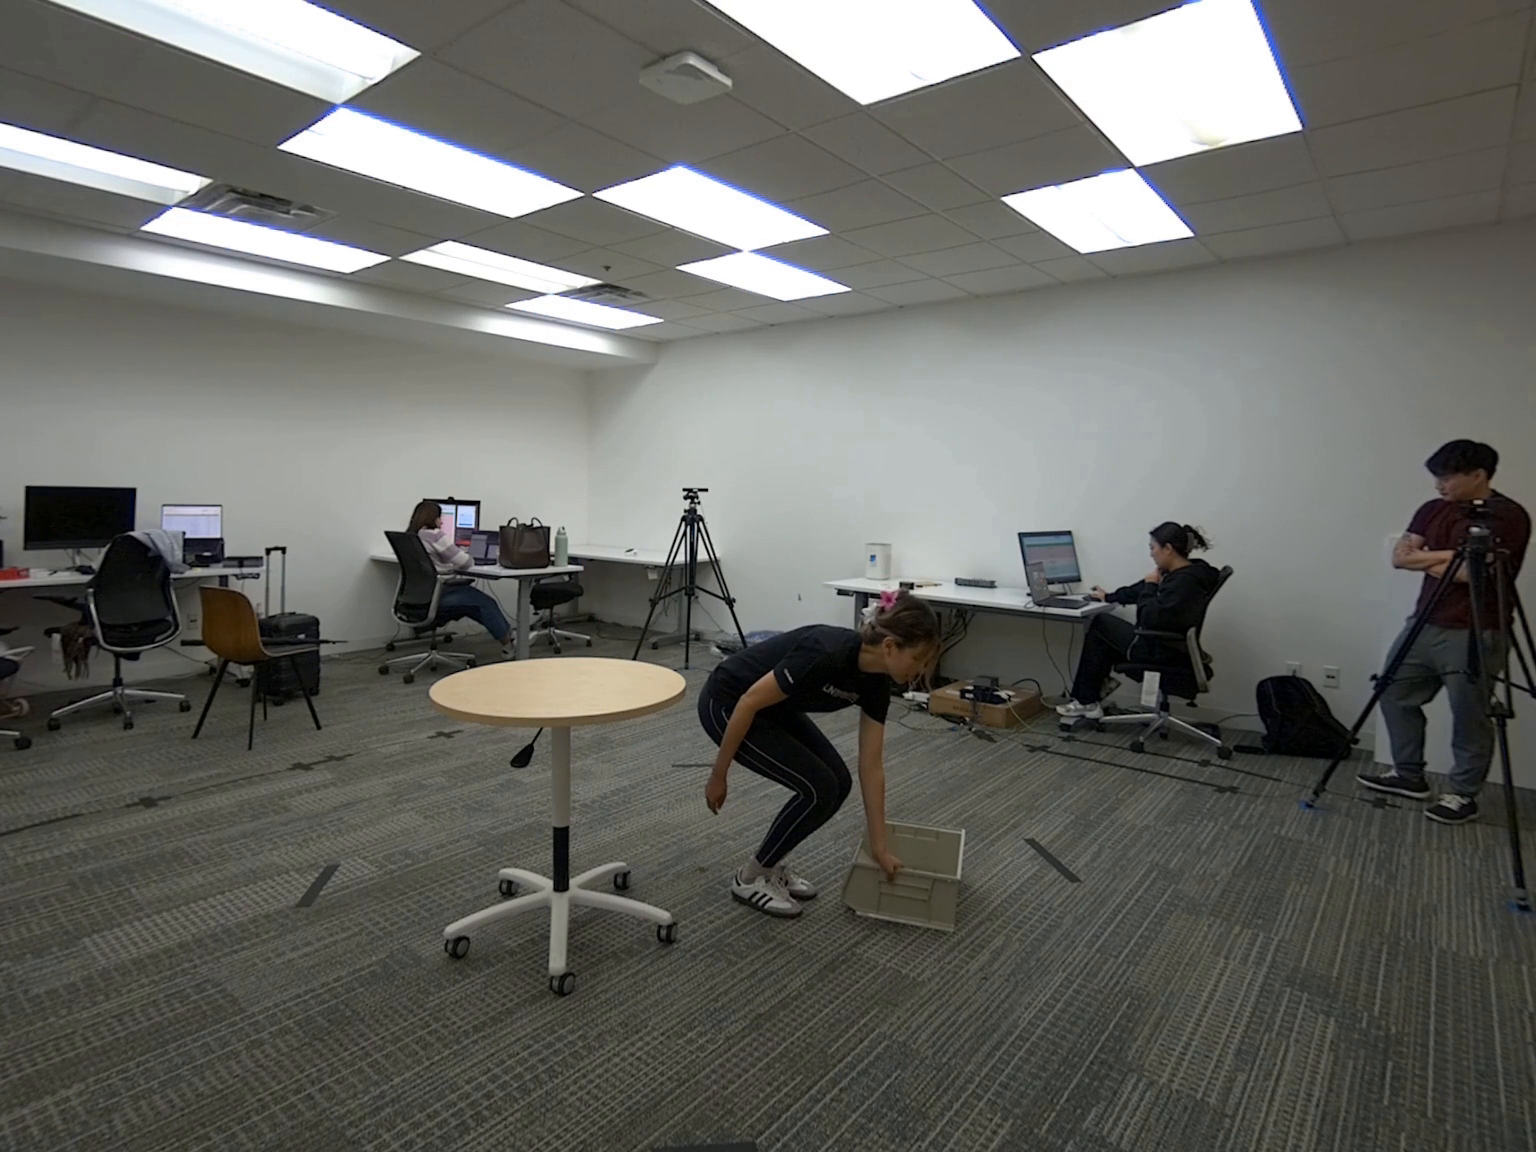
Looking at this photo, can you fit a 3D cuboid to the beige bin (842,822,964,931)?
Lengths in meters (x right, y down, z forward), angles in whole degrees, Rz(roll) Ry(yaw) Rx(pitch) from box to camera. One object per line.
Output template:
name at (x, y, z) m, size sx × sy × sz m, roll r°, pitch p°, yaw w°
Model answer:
beige bin at (0.471, 1.012, 2.945) m, size 0.385 × 0.188 × 0.416 m, roll 4°, pitch 5°, yaw 16°
